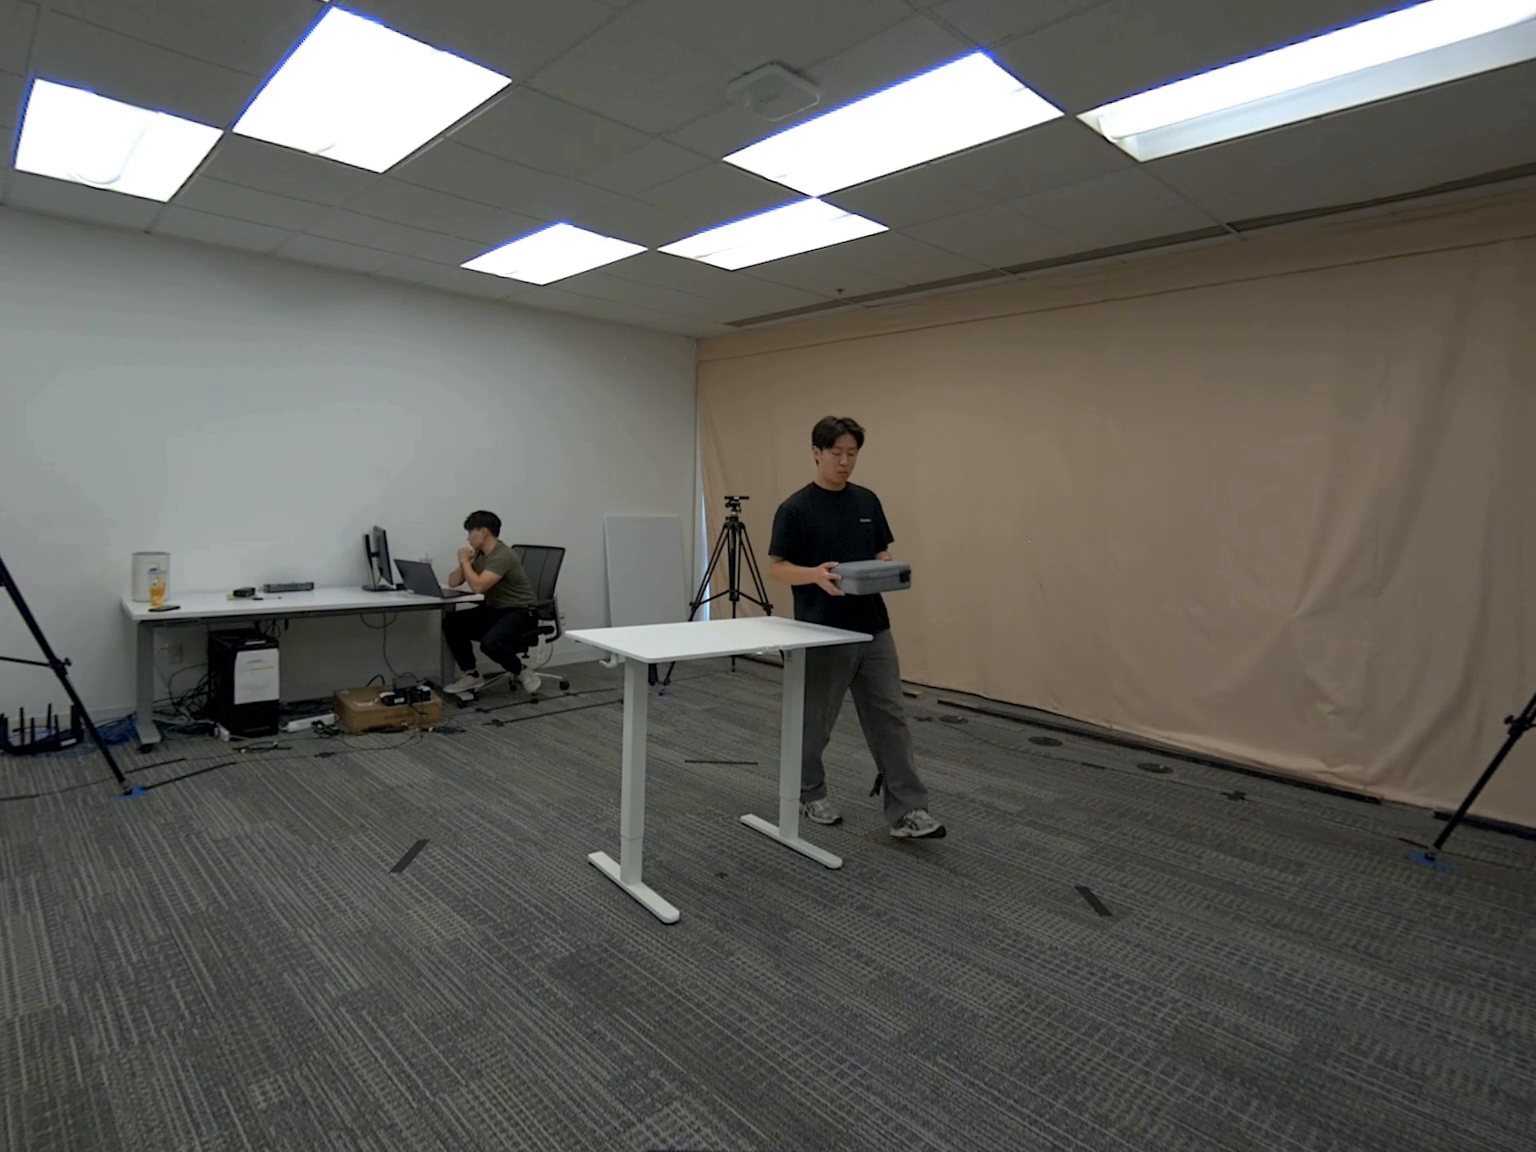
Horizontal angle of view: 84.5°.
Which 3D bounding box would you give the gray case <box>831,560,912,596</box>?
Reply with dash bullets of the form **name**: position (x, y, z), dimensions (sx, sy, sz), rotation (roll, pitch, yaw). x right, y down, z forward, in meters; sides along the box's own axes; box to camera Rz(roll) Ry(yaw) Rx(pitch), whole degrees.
- **gray case**: position (0.382, 0.004, 3.272), dimensions (0.259, 0.102, 0.293), rotation (-6, 7, -22)
